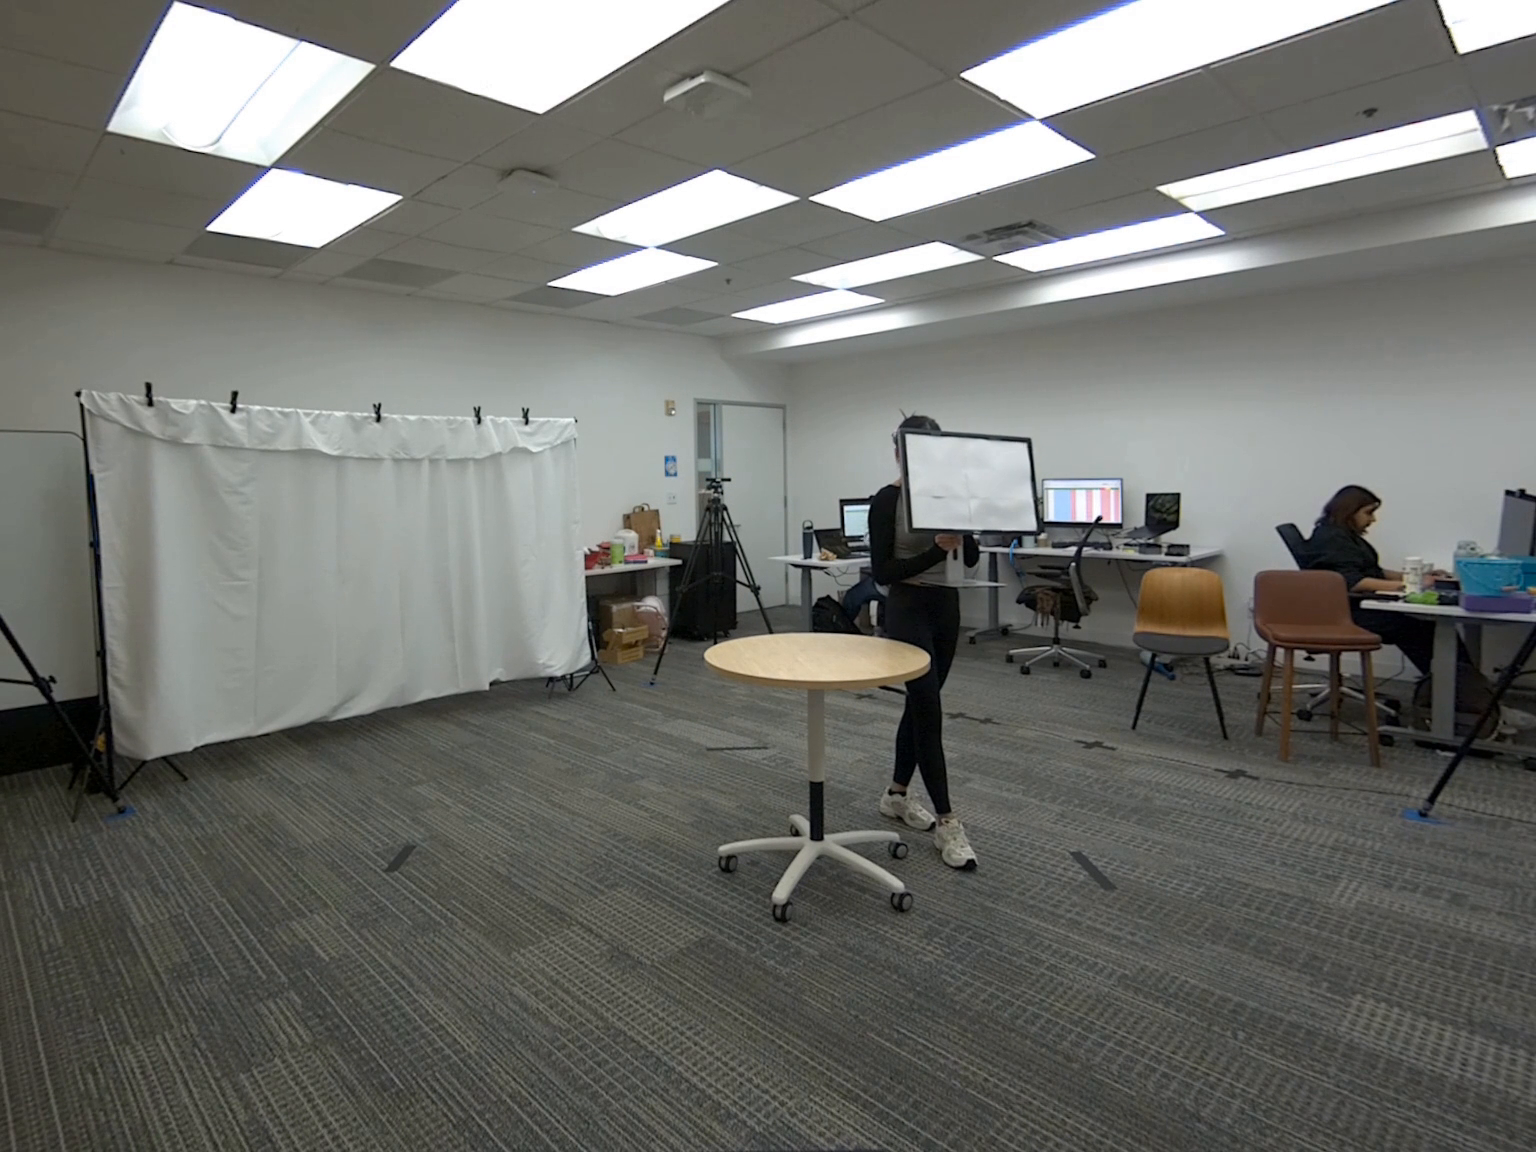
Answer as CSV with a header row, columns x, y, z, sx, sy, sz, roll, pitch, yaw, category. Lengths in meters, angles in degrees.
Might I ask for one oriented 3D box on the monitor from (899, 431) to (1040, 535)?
x,y,z,sx,sy,sz,roll,pitch,yaw,category
0.697,-0.234,3.036,0.527,0.521,0.191,0,2,-24,monitor
